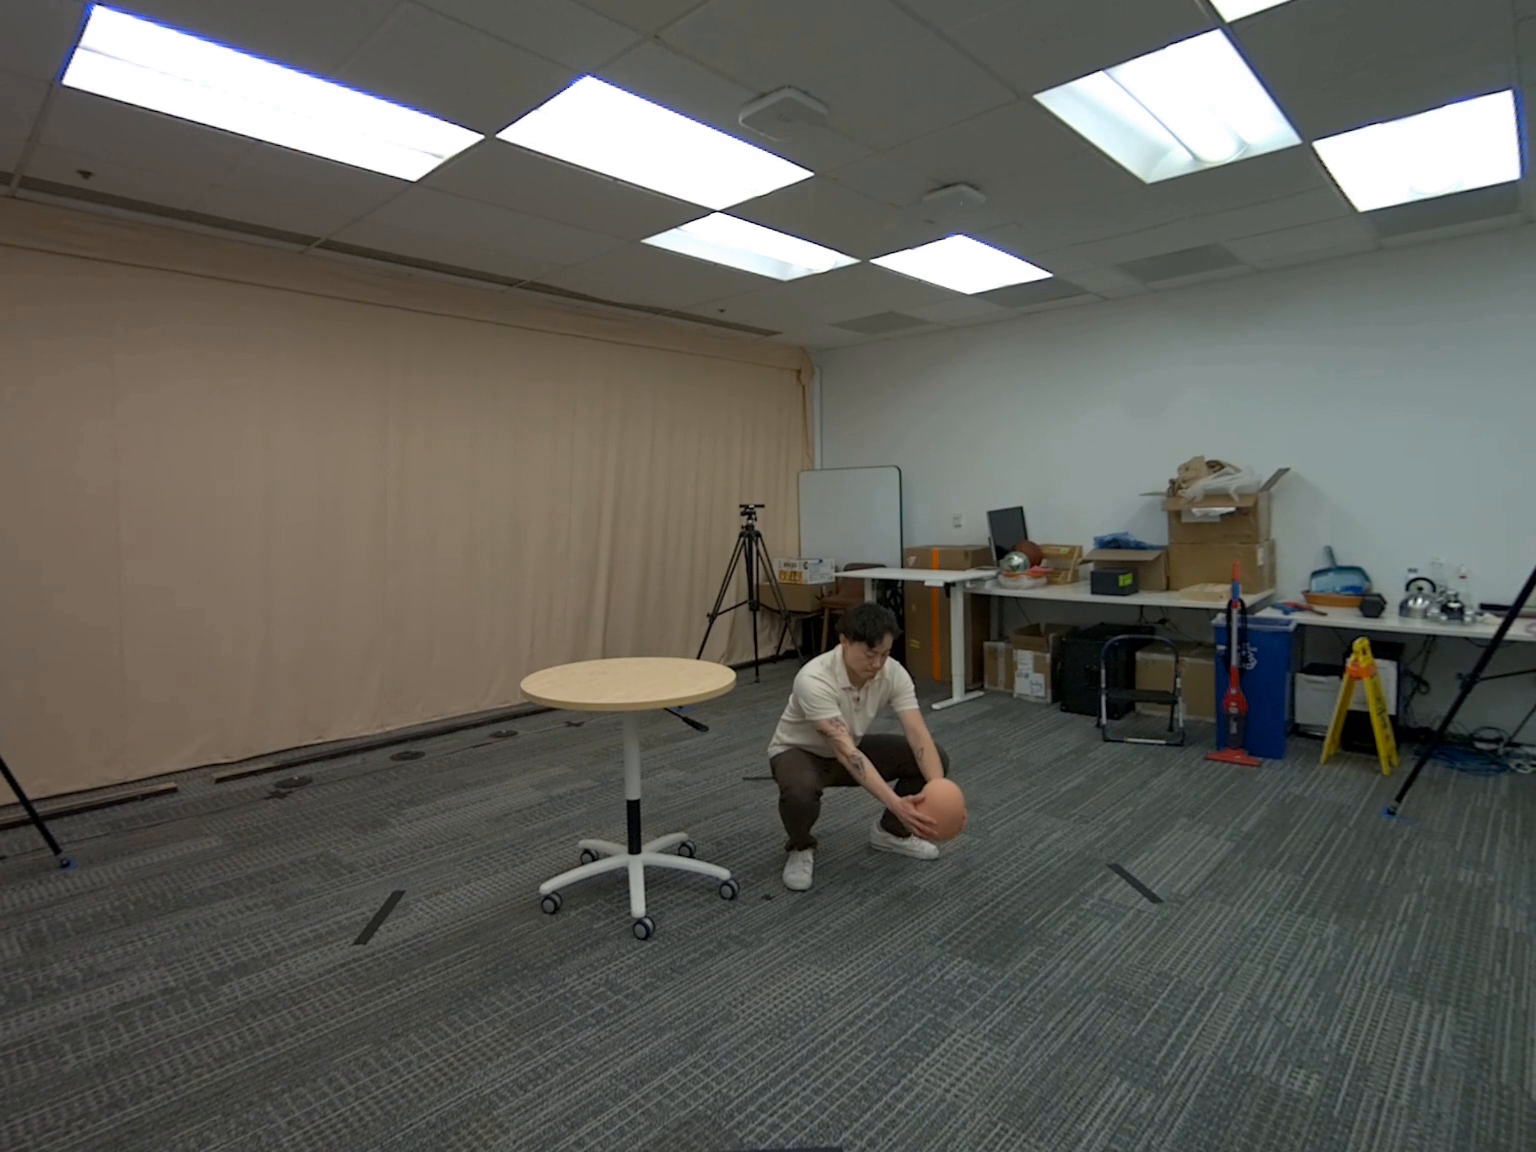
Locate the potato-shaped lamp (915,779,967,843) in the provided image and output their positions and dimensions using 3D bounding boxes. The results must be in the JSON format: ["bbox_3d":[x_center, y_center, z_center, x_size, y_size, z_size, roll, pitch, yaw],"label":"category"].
[{"bbox_3d":[0.558,0.756,2.756,0.161,0.196,0.177,-1,22,-22],"label":"potato-shaped lamp"}]
